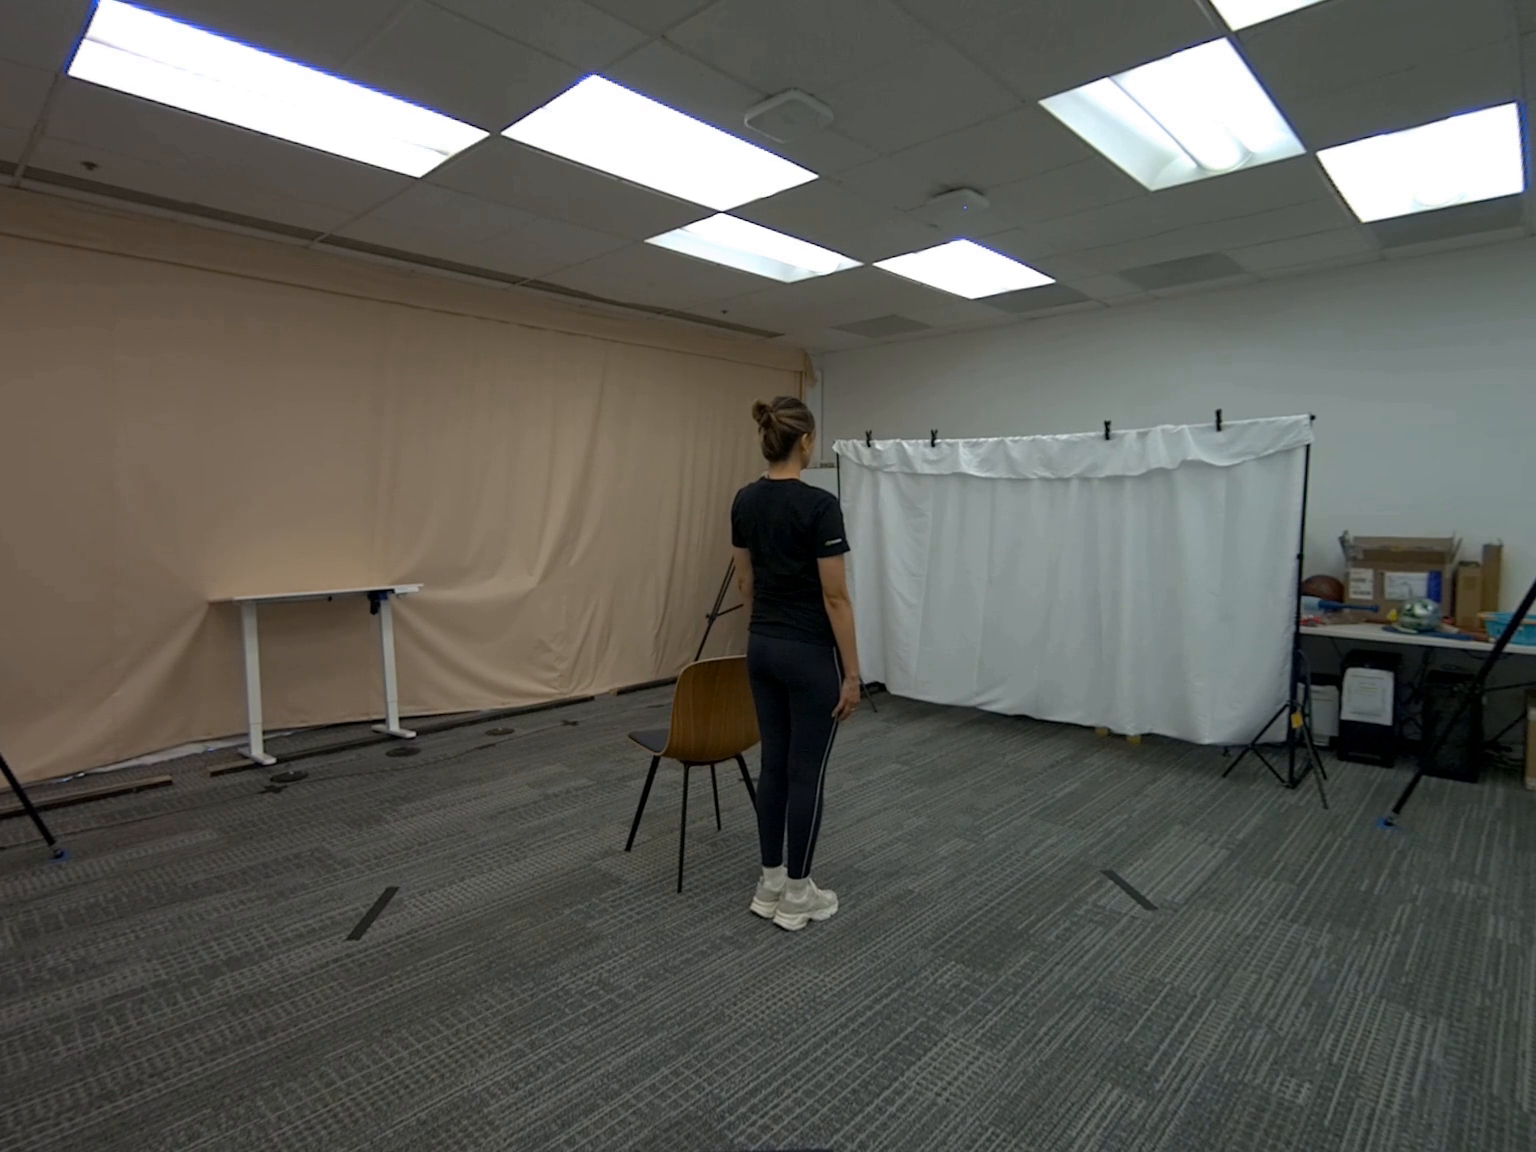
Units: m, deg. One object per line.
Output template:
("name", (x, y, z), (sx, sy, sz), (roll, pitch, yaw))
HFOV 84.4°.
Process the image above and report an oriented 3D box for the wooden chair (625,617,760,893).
("wooden chair", (-0.274, 0.692, 3.314), (0.465, 0.874, 0.540), (-2, 8, -33))
